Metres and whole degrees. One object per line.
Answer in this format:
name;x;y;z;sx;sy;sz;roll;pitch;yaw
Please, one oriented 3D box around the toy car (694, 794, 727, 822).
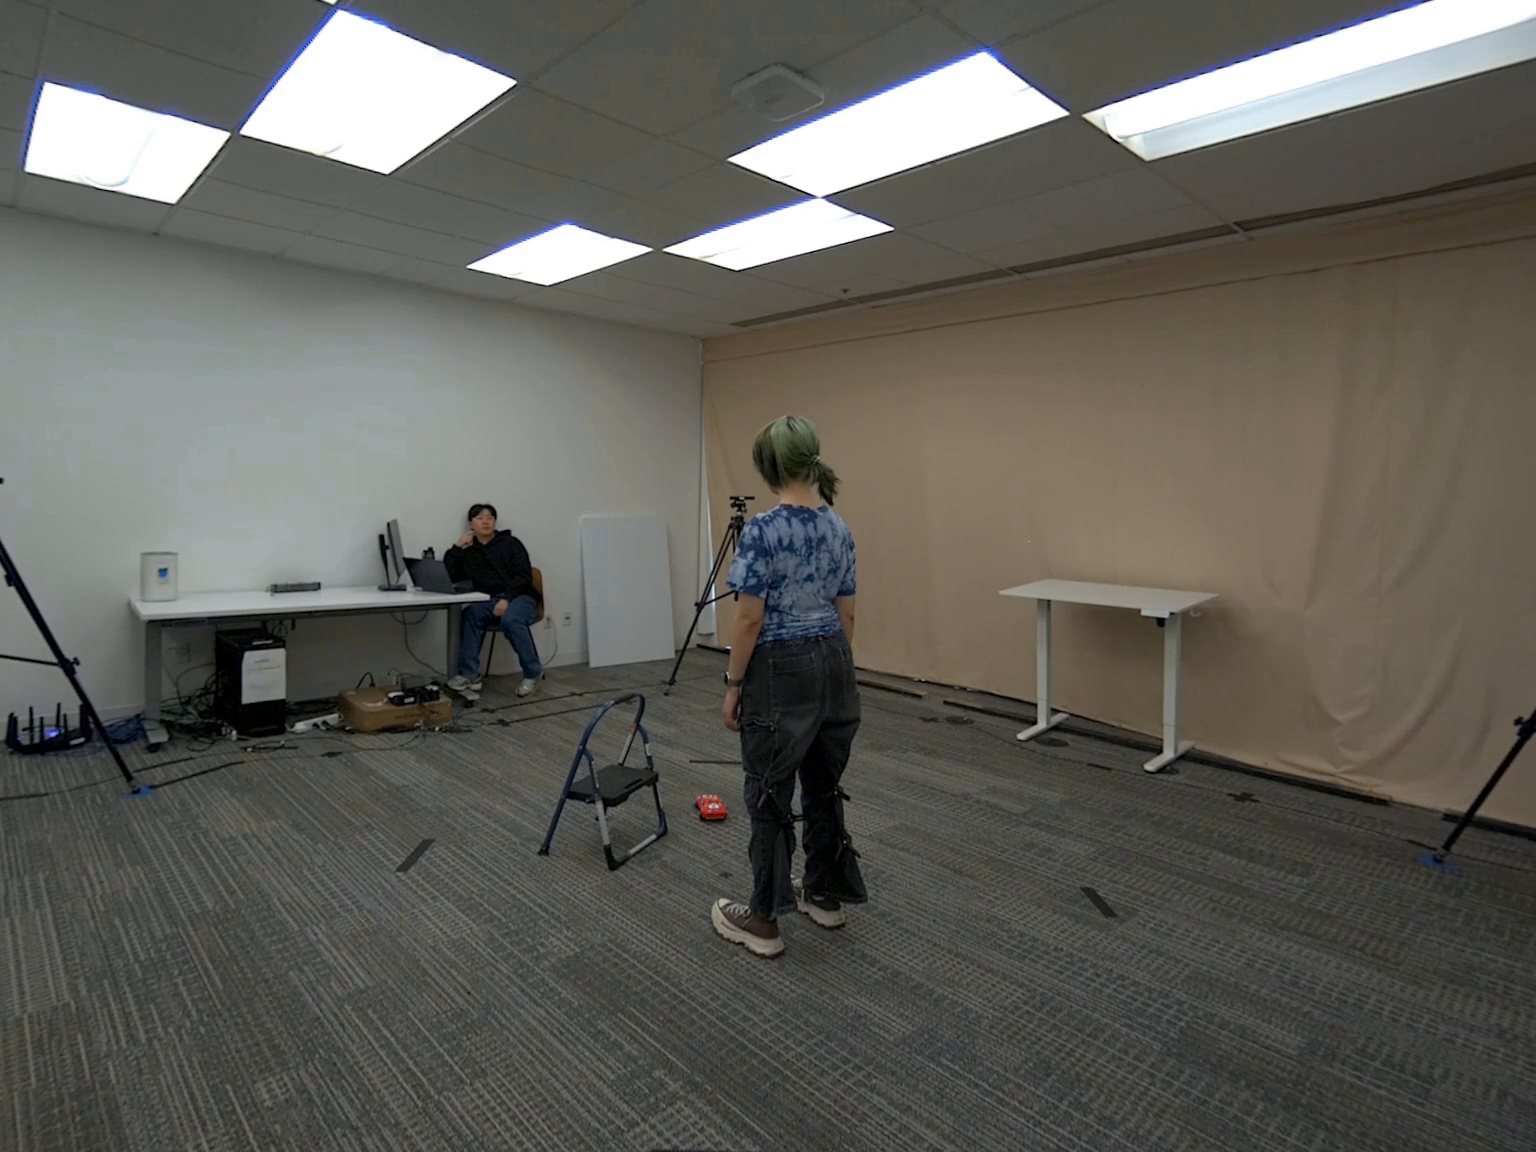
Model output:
toy car;-0.257;1.018;3.699;0.129;0.083;0.256;1;-5;-12
